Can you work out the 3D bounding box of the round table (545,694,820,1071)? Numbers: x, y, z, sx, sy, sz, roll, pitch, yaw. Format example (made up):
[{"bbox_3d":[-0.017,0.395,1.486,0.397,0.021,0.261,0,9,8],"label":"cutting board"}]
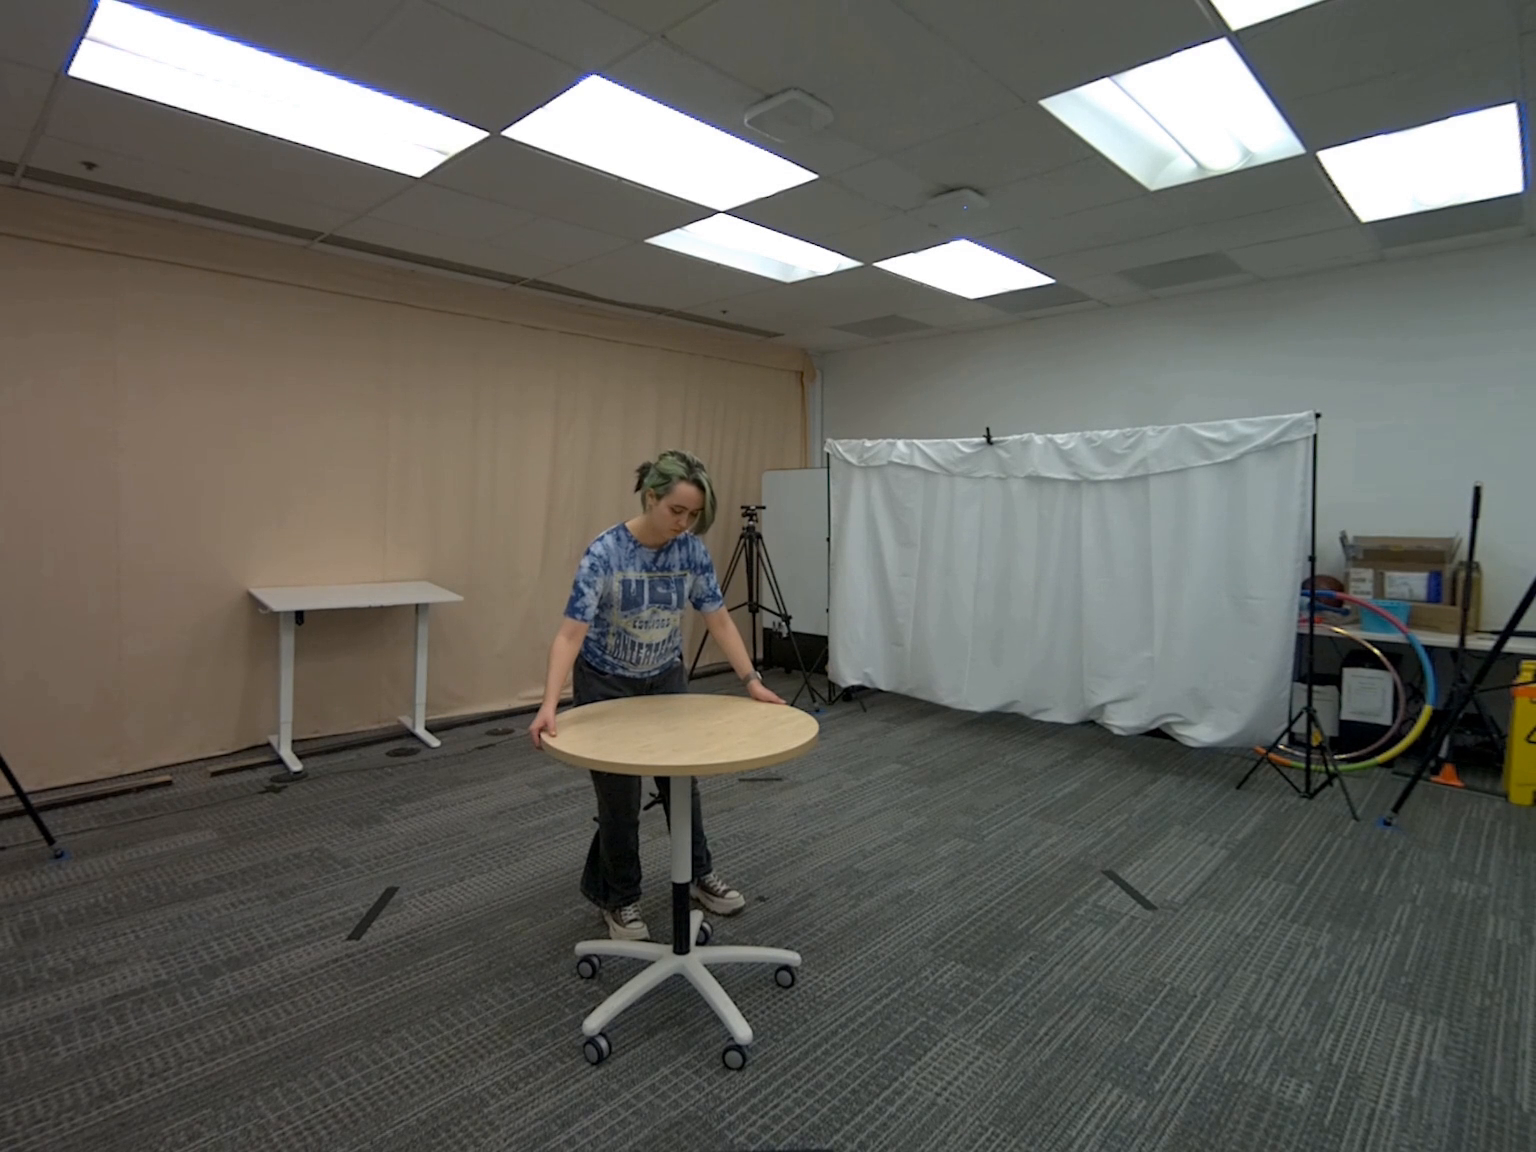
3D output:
[{"bbox_3d":[-0.236,0.808,2.358,0.763,0.792,0.767,0,4,-2],"label":"round table"}]
